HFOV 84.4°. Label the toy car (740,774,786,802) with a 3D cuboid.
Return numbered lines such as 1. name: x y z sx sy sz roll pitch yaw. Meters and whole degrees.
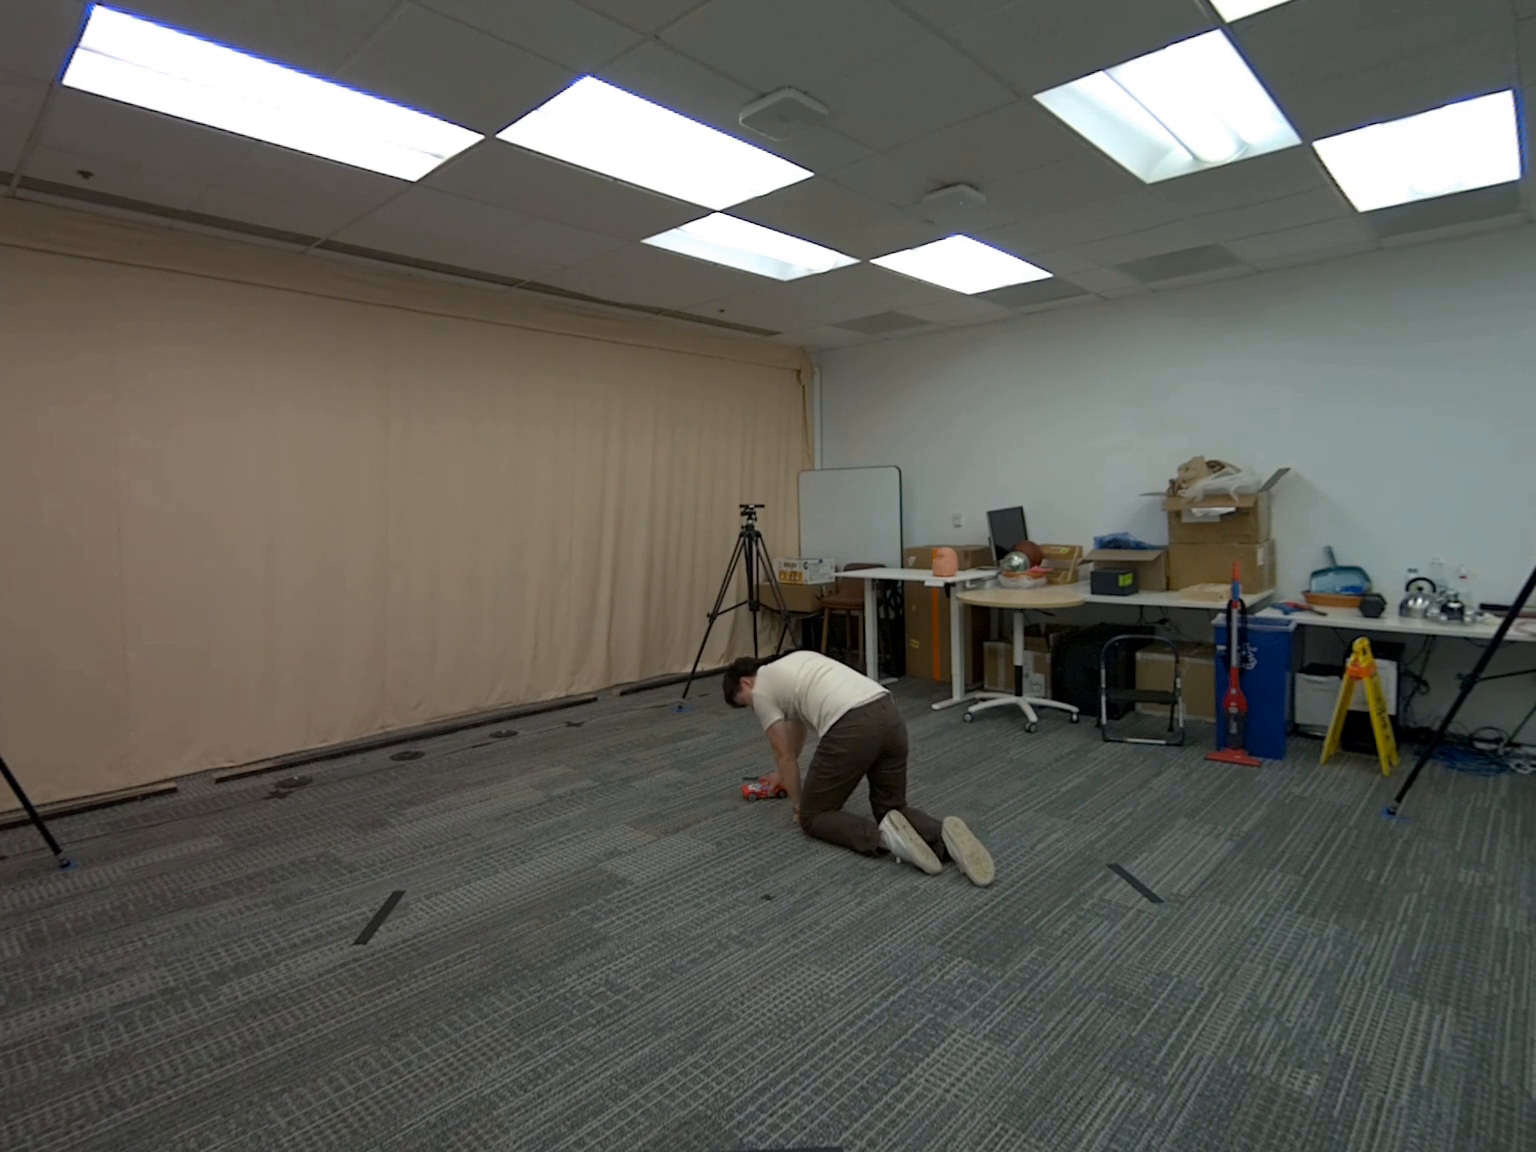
1. toy car: -0.001 1.024 4.034 0.251 0.083 0.132 -12 7 -13
